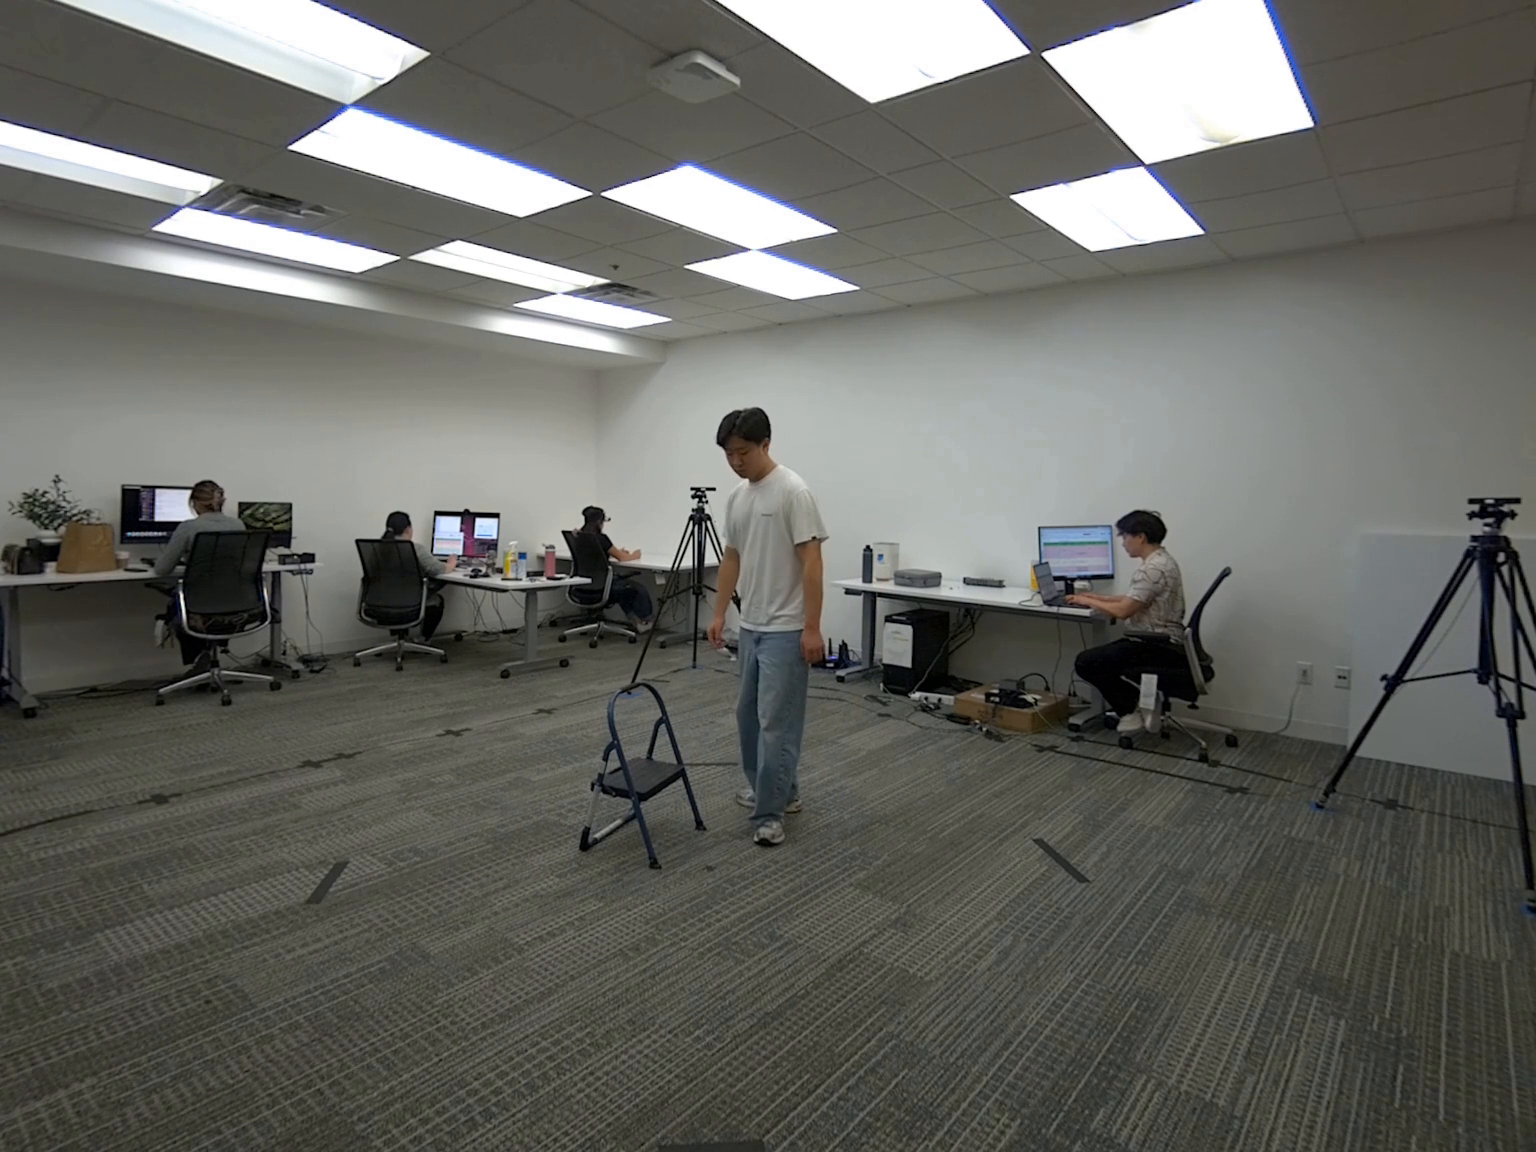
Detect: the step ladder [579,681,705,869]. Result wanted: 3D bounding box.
[{"bbox_3d":[-0.491,0.735,3.339,0.358,0.604,0.422,3,4,22],"label":"step ladder"}]
